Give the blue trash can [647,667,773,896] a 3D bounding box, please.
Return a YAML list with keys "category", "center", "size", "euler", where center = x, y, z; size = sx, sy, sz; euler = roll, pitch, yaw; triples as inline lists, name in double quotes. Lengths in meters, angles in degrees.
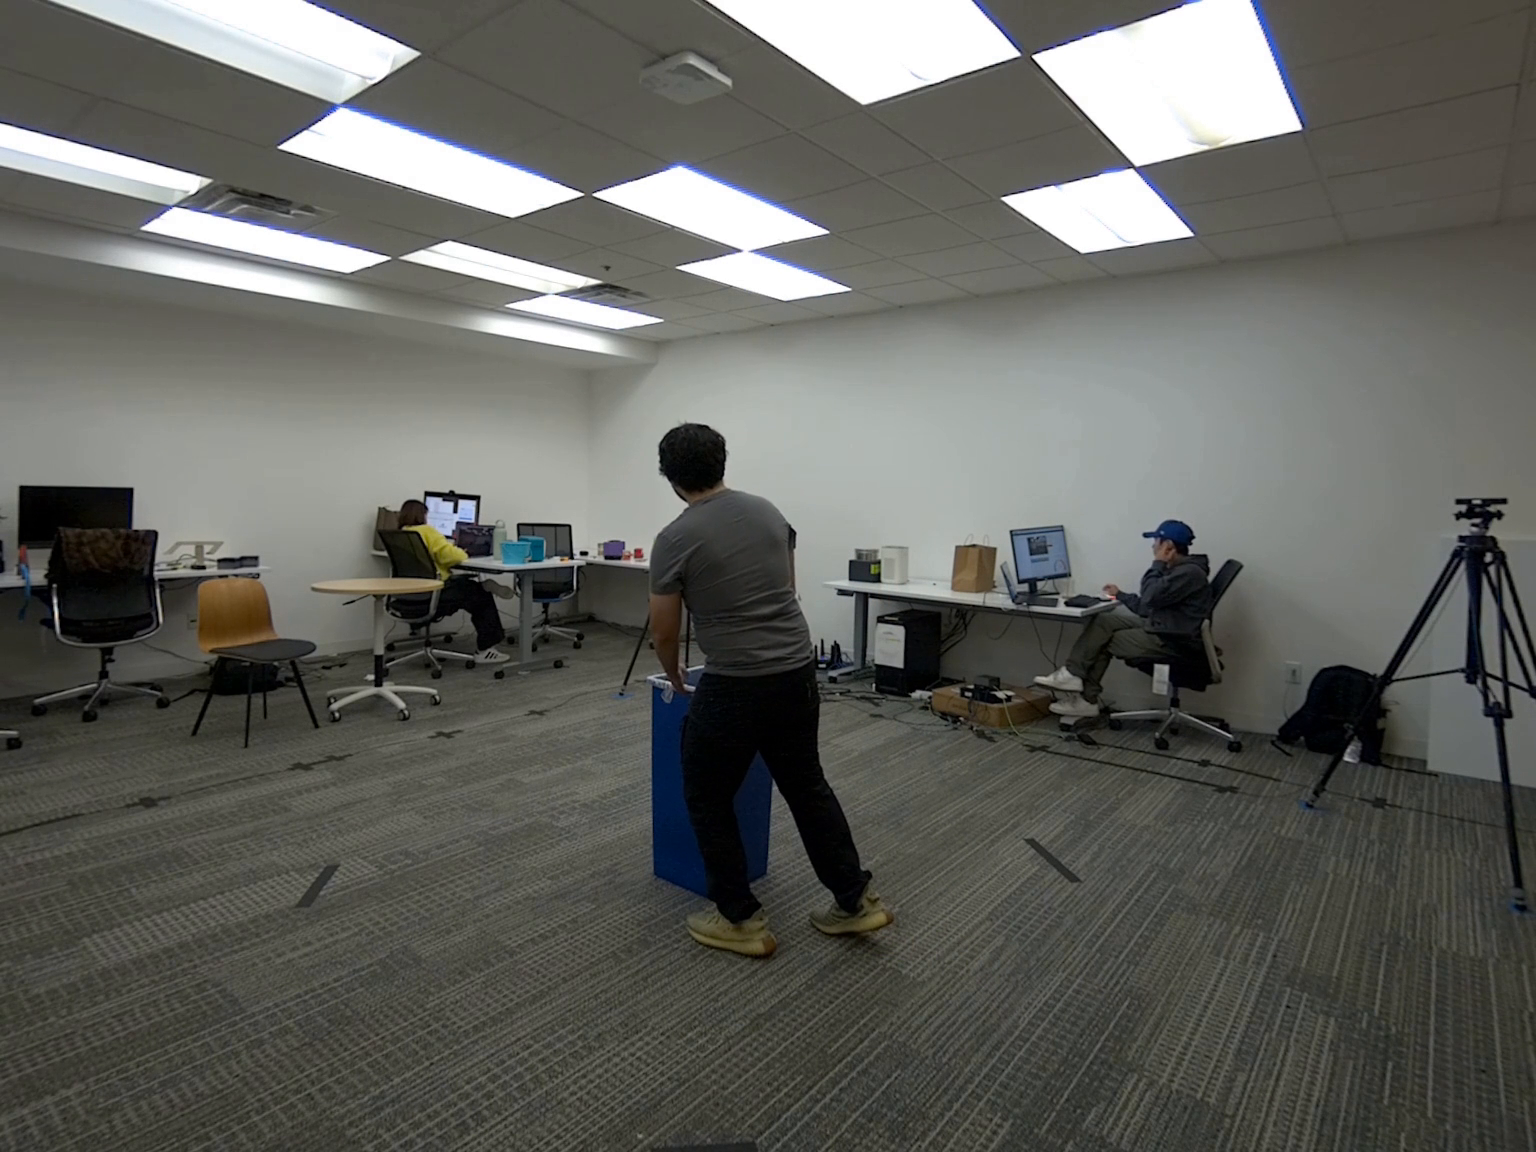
- category: "blue trash can"
  center: [-0.216, 0.718, 3.062]
  size: [0.386, 0.712, 0.367]
  euler: [4, 4, 38]
